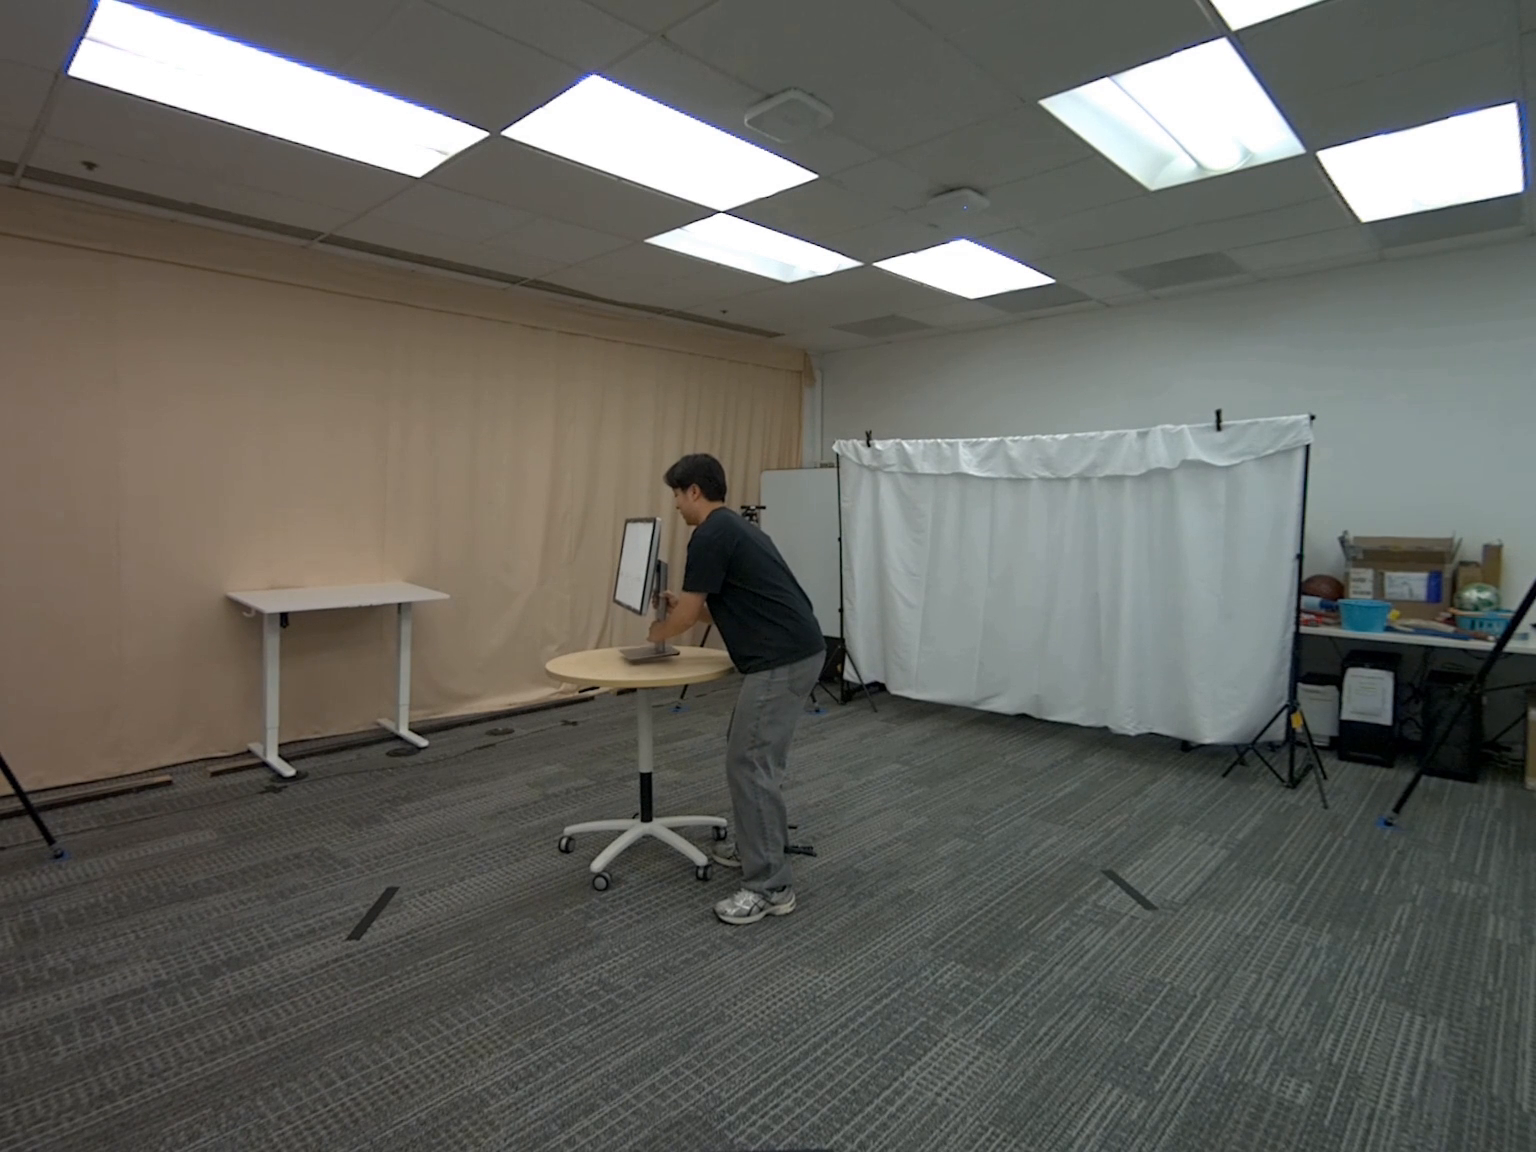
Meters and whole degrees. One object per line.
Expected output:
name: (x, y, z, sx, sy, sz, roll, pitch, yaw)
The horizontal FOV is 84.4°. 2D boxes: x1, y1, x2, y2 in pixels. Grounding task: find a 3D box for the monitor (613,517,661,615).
monitor: (-0.492, 0.053, 3.350, 0.219, 0.565, 0.572, -6, 4, -16)
